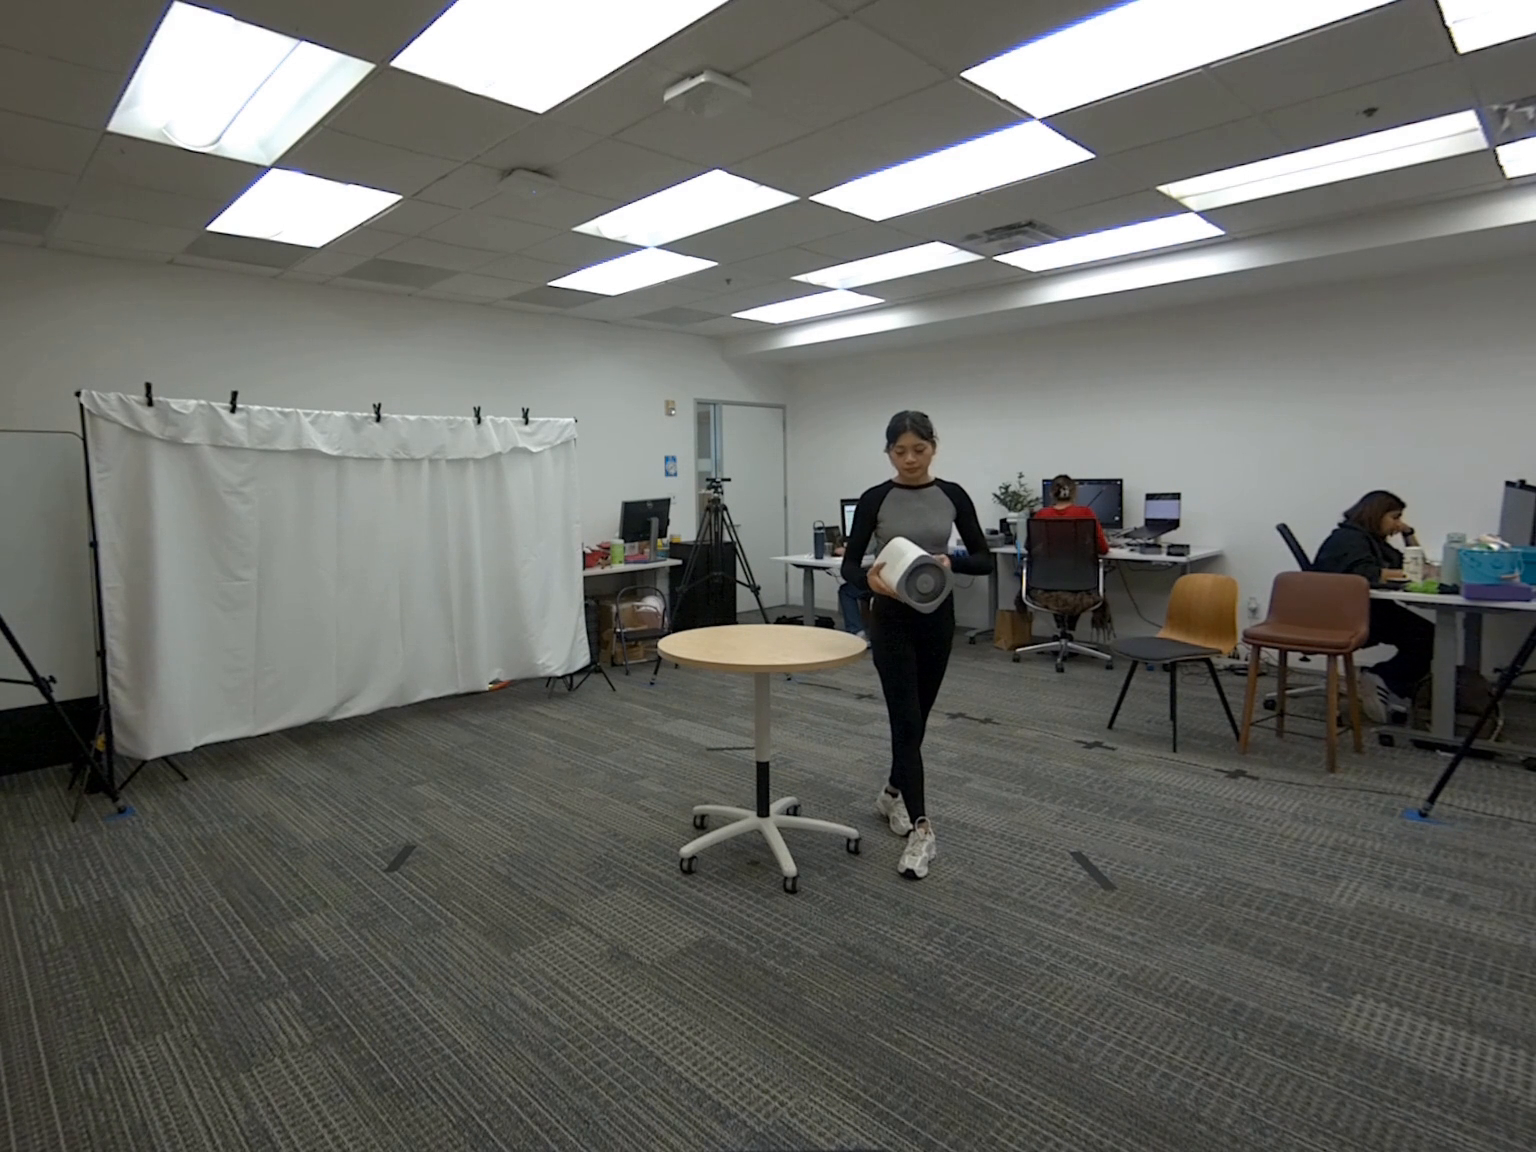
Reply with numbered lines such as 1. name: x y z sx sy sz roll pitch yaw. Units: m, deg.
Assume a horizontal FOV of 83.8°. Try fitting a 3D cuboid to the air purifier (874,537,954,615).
1. air purifier: 0.471 -0.005 2.870 0.168 0.171 0.271 34 6 -16
